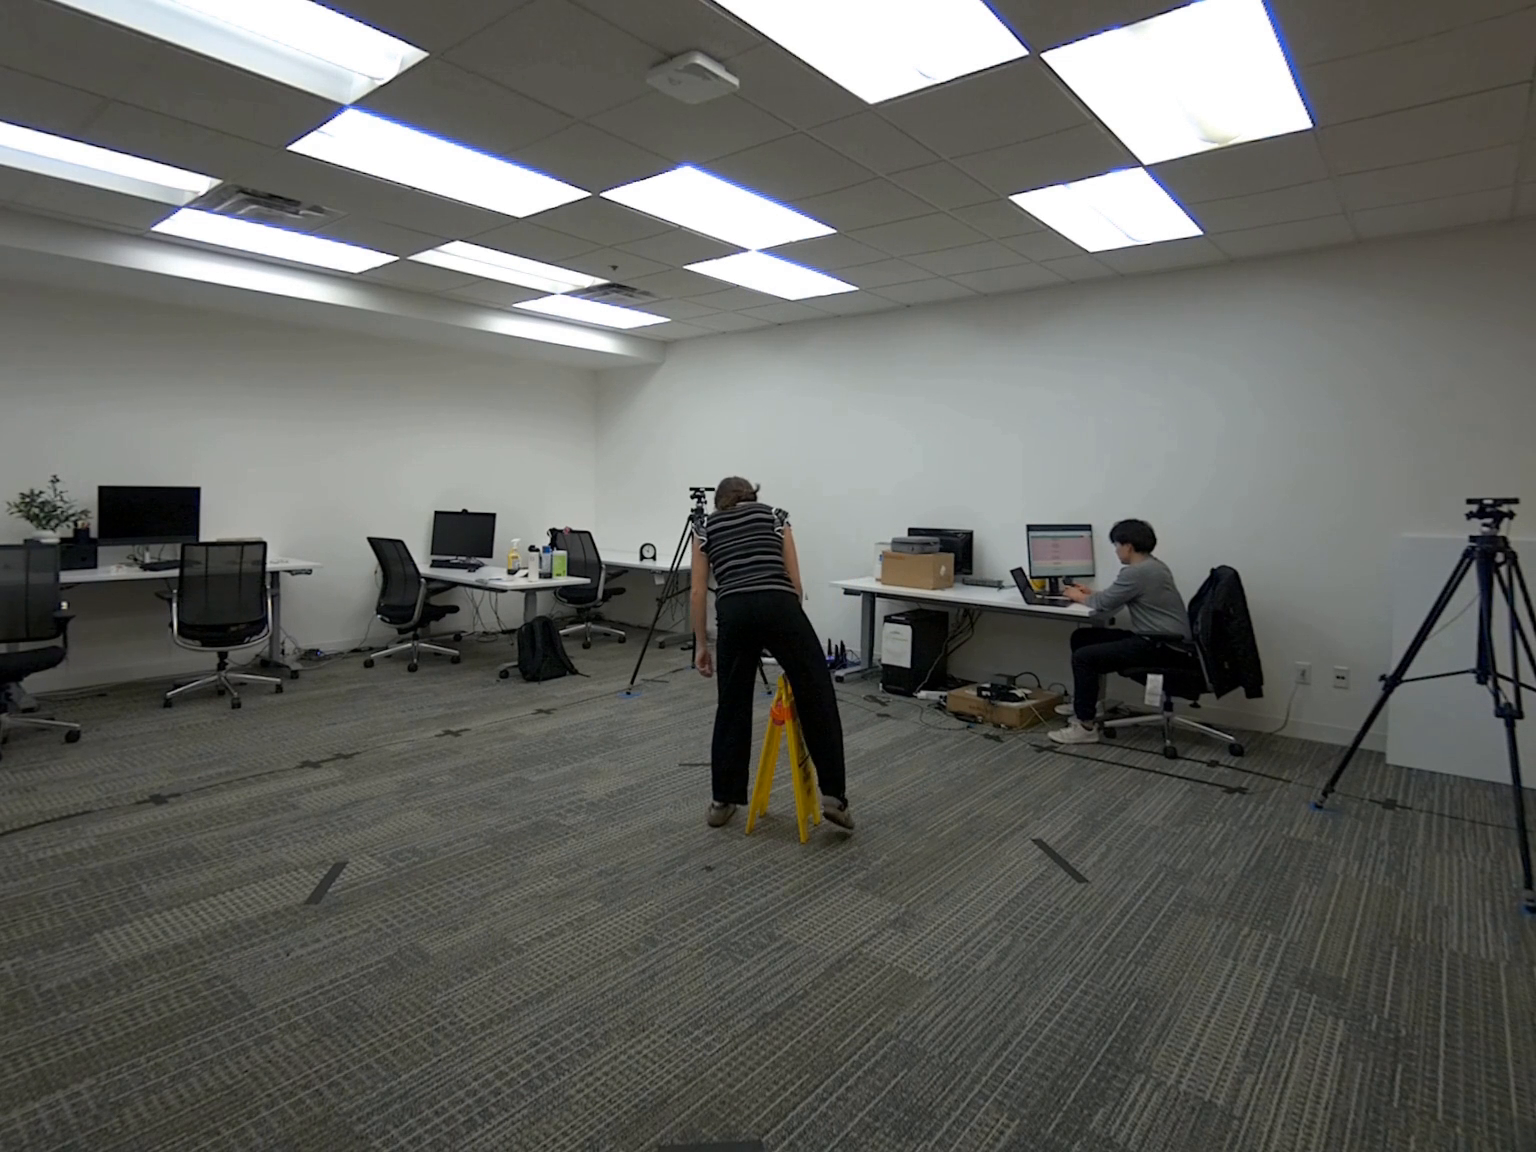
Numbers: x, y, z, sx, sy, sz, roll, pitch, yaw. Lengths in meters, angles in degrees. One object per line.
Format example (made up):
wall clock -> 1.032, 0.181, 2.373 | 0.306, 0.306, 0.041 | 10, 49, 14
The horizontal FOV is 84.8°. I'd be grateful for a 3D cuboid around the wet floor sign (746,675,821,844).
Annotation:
wet floor sign -> 0.061, 0.709, 3.492 | 0.295, 0.643, 0.279 | 4, 5, 15
